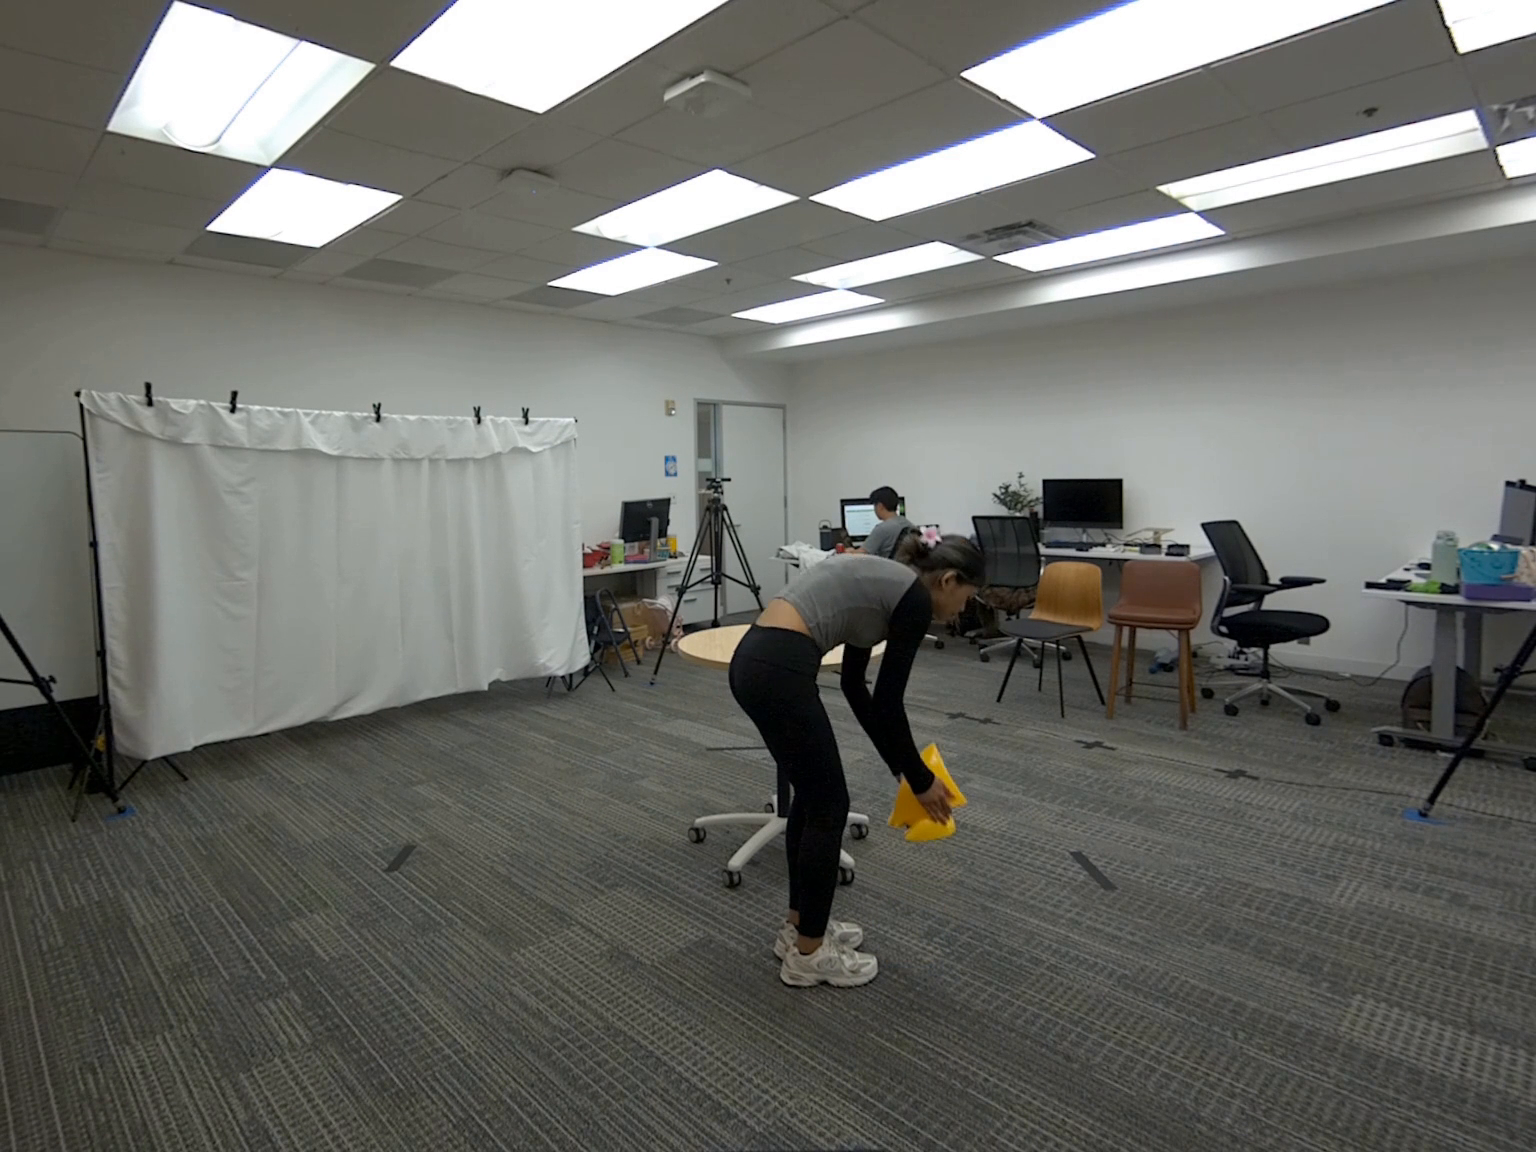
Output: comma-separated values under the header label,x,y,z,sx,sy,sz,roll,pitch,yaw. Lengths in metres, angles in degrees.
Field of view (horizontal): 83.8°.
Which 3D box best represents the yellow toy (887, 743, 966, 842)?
label,x,y,z,sx,sy,sz,roll,pitch,yaw
yellow toy,0.446,0.609,2.462,0.191,0.230,0.208,-8,5,-13
